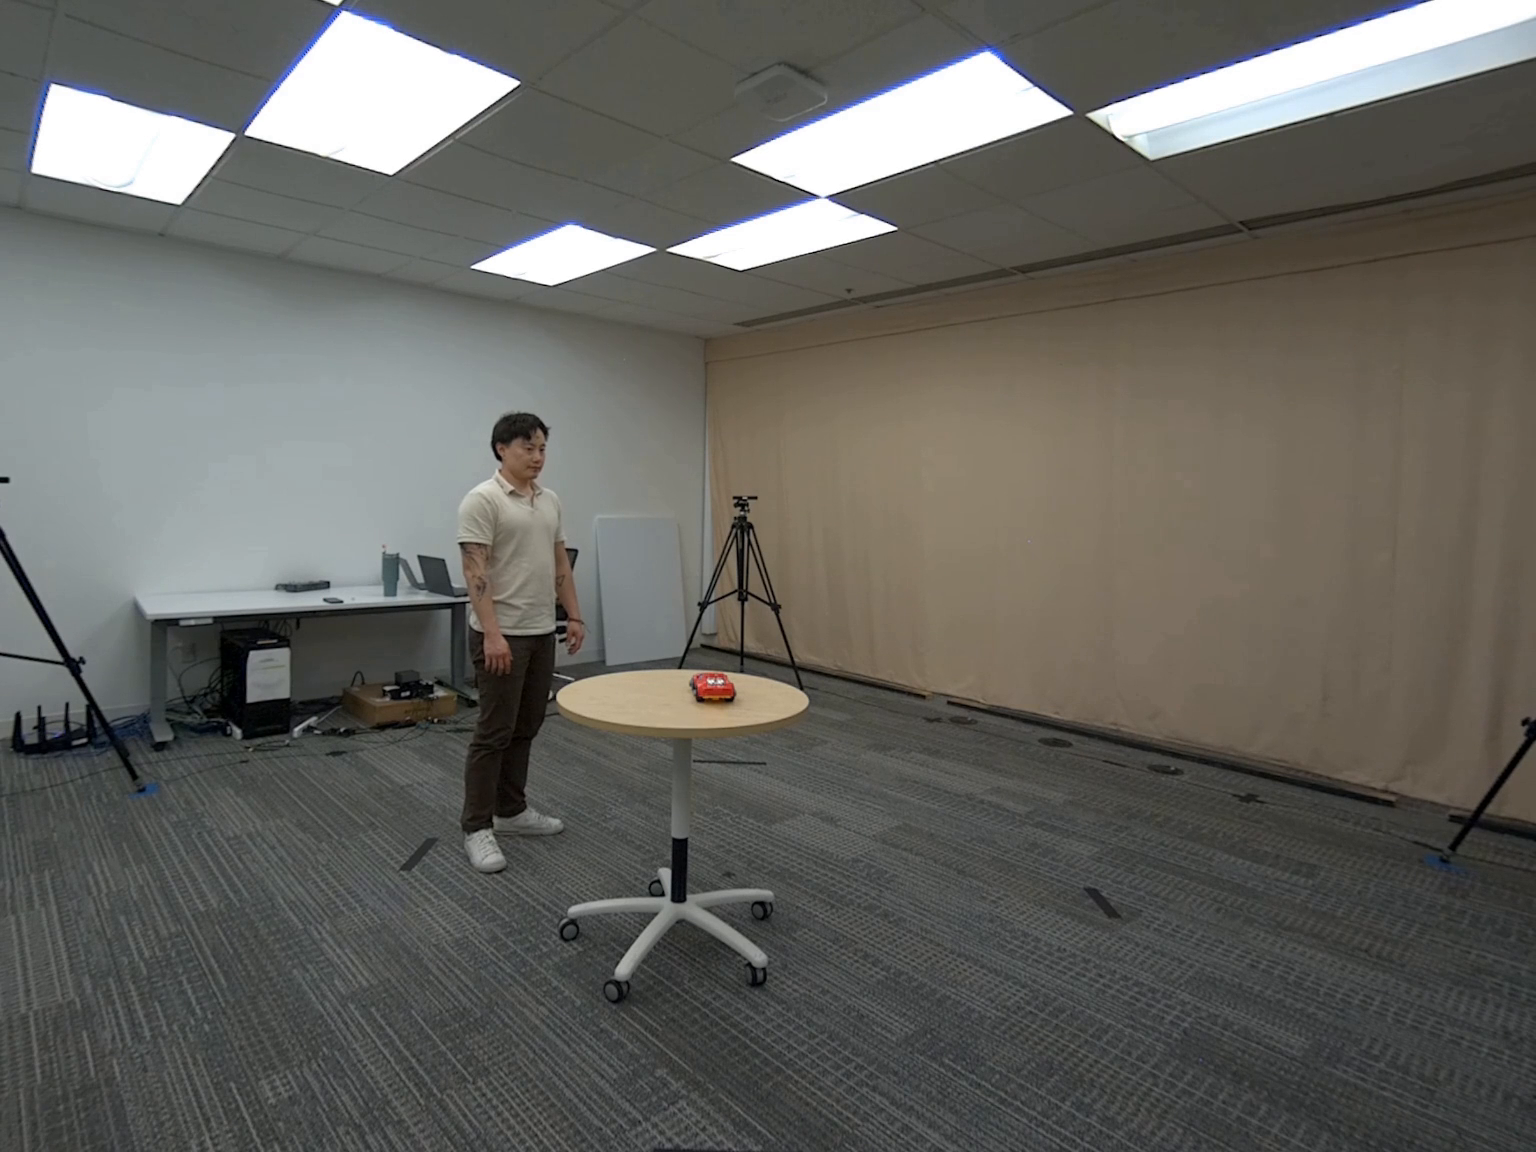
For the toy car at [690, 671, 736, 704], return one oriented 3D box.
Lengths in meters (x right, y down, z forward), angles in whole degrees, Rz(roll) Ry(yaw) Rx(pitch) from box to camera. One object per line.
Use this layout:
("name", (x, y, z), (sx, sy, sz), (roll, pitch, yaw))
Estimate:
("toy car", (-0.170, 0.337, 2.543), (0.129, 0.084, 0.255), (1, -7, -11))
